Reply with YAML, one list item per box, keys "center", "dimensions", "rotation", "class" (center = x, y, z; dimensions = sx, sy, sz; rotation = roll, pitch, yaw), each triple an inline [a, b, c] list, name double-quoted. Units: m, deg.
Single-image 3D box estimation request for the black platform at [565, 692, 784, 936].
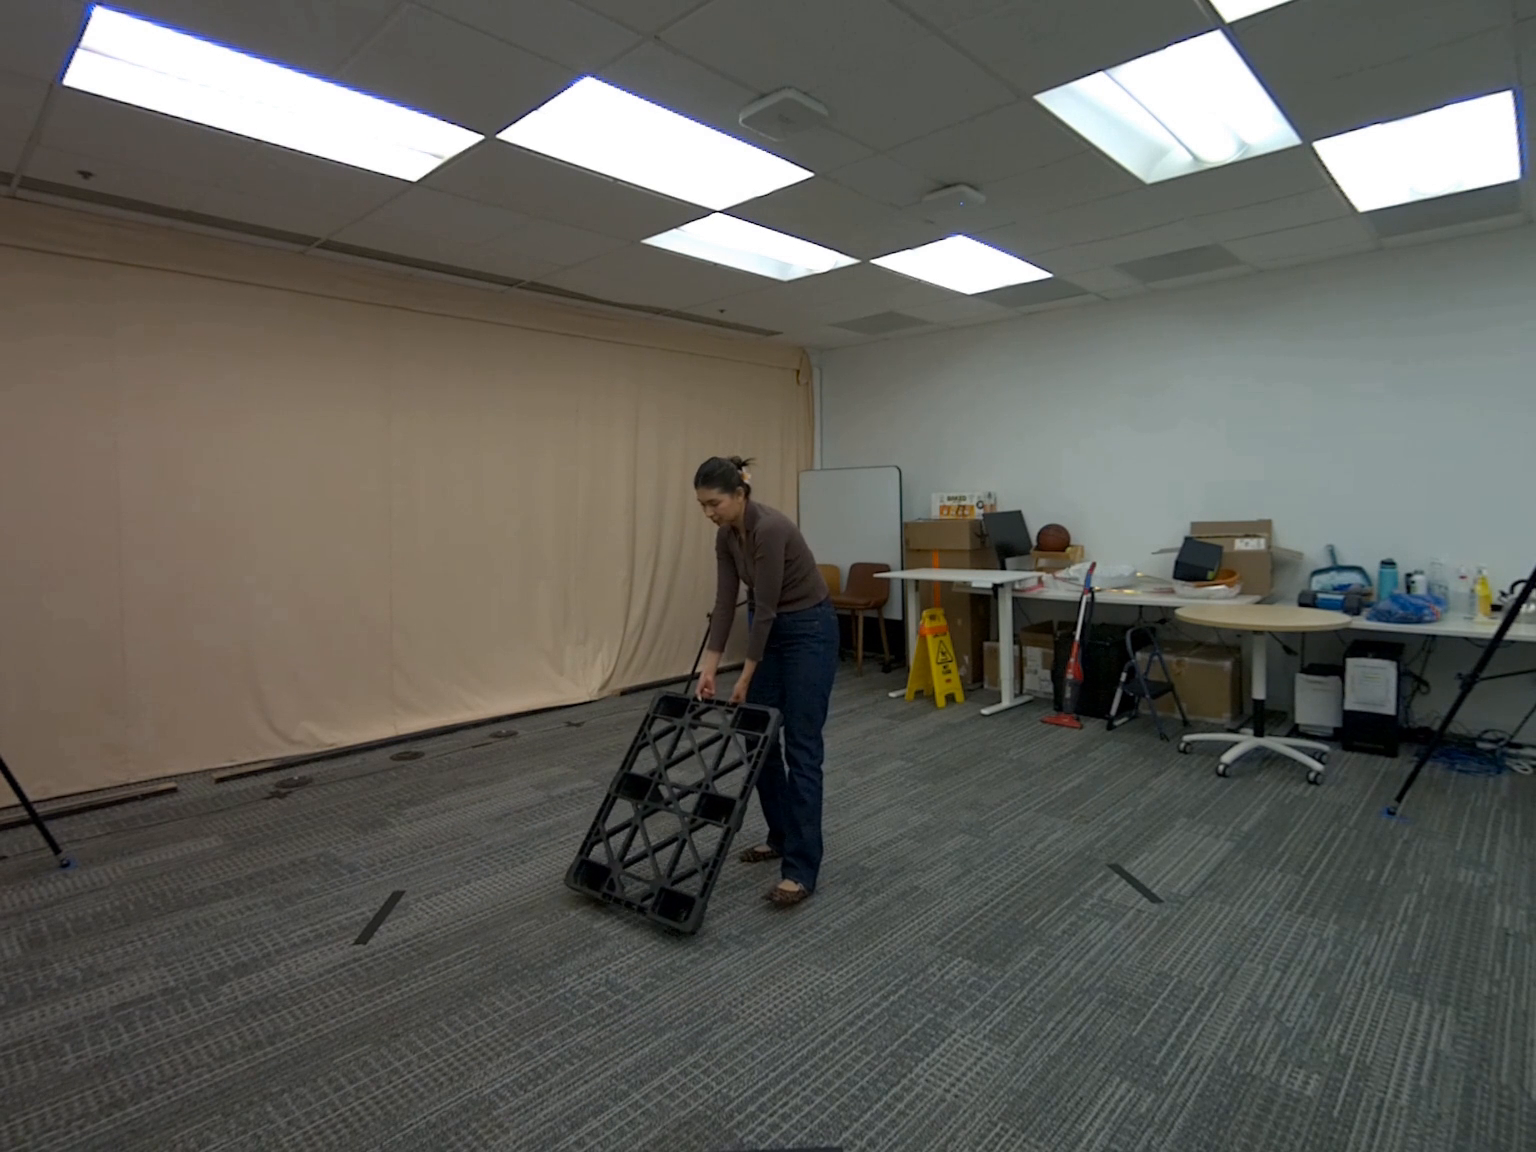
- center: [-0.305, 0.815, 3.029]
  dimensions: [0.624, 0.807, 0.138]
  rotation: [2, -35, 36]
  class: "black platform"
